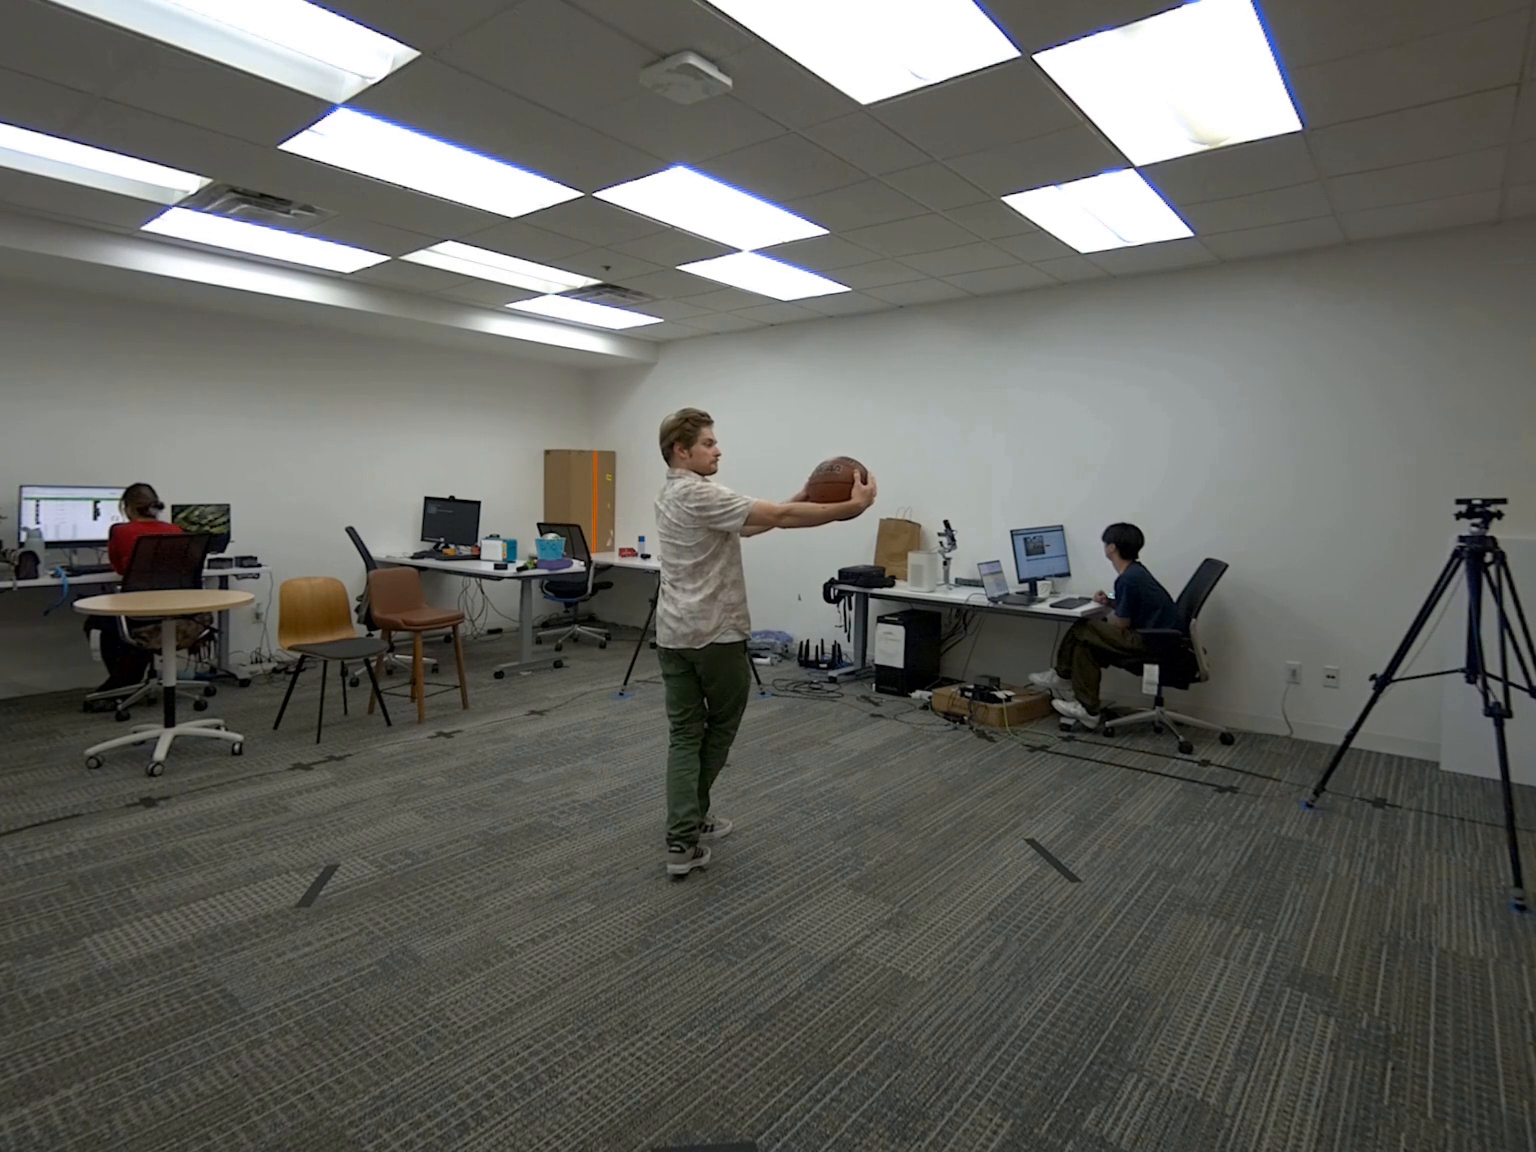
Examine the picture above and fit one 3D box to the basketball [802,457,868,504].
[{"bbox_3d":[0.264,-0.326,3.132,0.235,0.235,0.237,1,4,-2],"label":"basketball"}]
